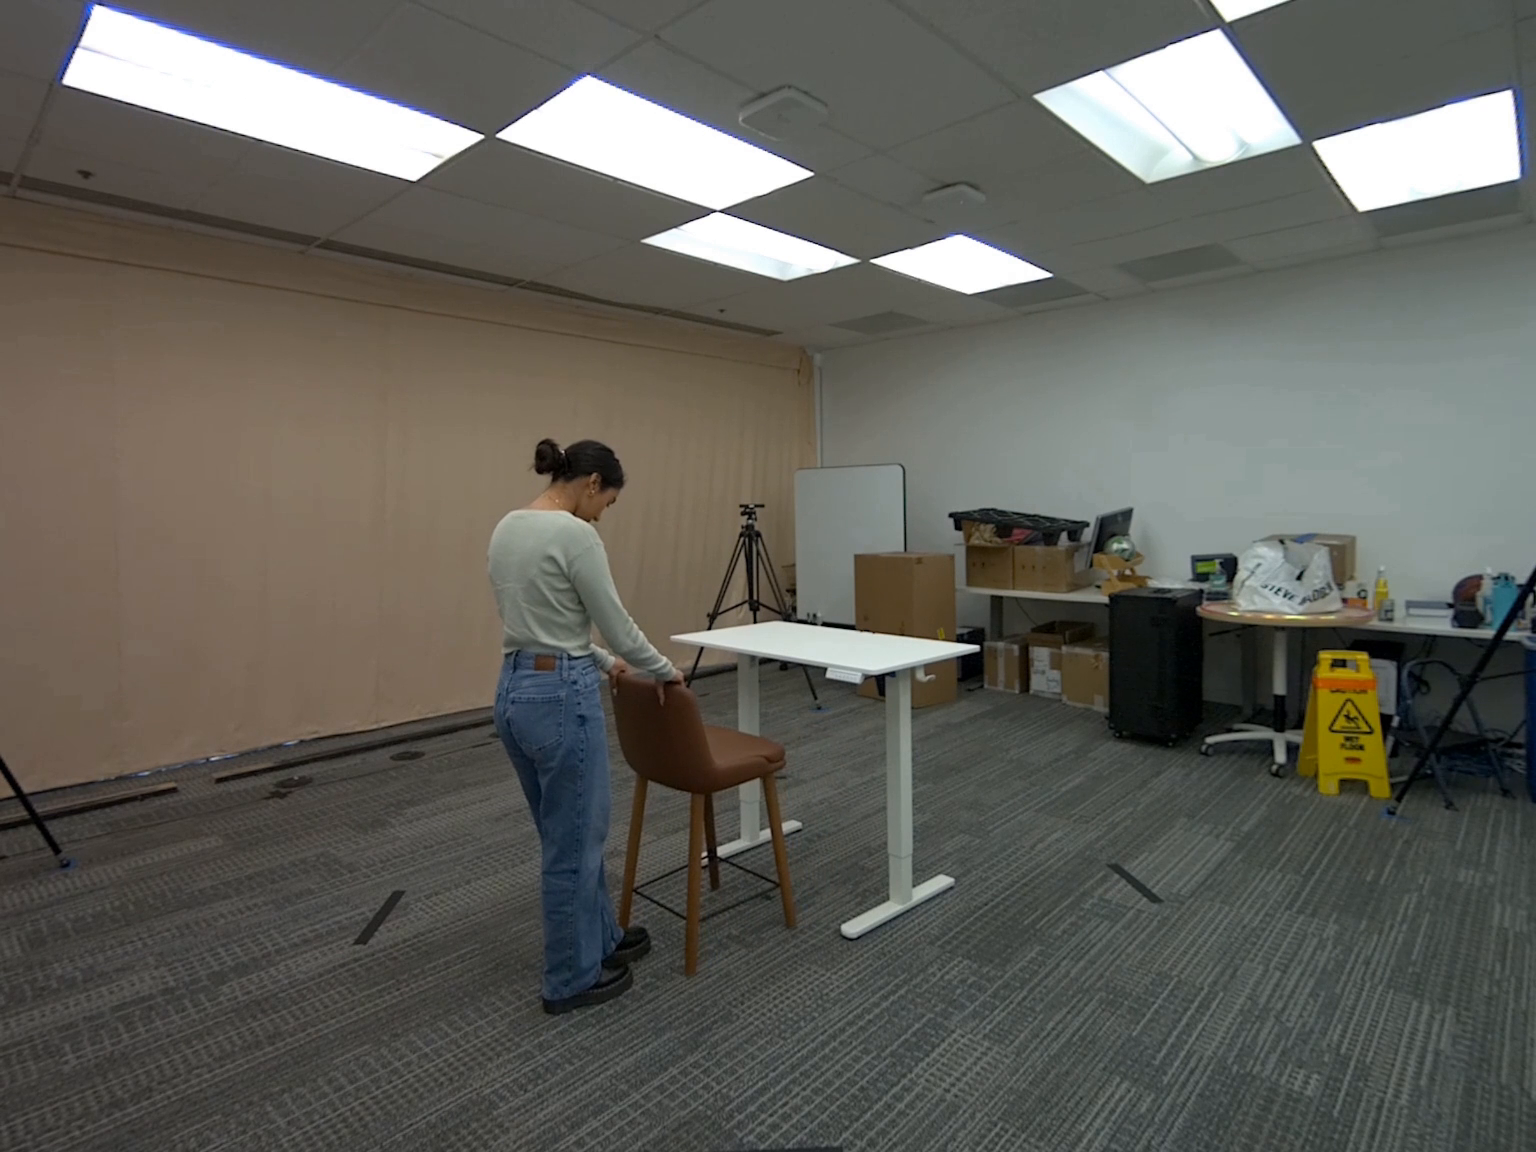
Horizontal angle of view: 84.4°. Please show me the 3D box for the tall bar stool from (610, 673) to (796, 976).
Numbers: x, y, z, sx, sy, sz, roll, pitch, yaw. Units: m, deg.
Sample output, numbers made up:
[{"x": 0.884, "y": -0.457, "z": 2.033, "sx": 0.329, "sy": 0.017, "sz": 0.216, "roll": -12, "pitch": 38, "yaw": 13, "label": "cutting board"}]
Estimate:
[{"x": -0.219, "y": 0.722, "z": 2.741, "sx": 0.454, "sy": 0.887, "sz": 0.471, "roll": -7, "pitch": 6, "yaw": -43, "label": "tall bar stool"}]
